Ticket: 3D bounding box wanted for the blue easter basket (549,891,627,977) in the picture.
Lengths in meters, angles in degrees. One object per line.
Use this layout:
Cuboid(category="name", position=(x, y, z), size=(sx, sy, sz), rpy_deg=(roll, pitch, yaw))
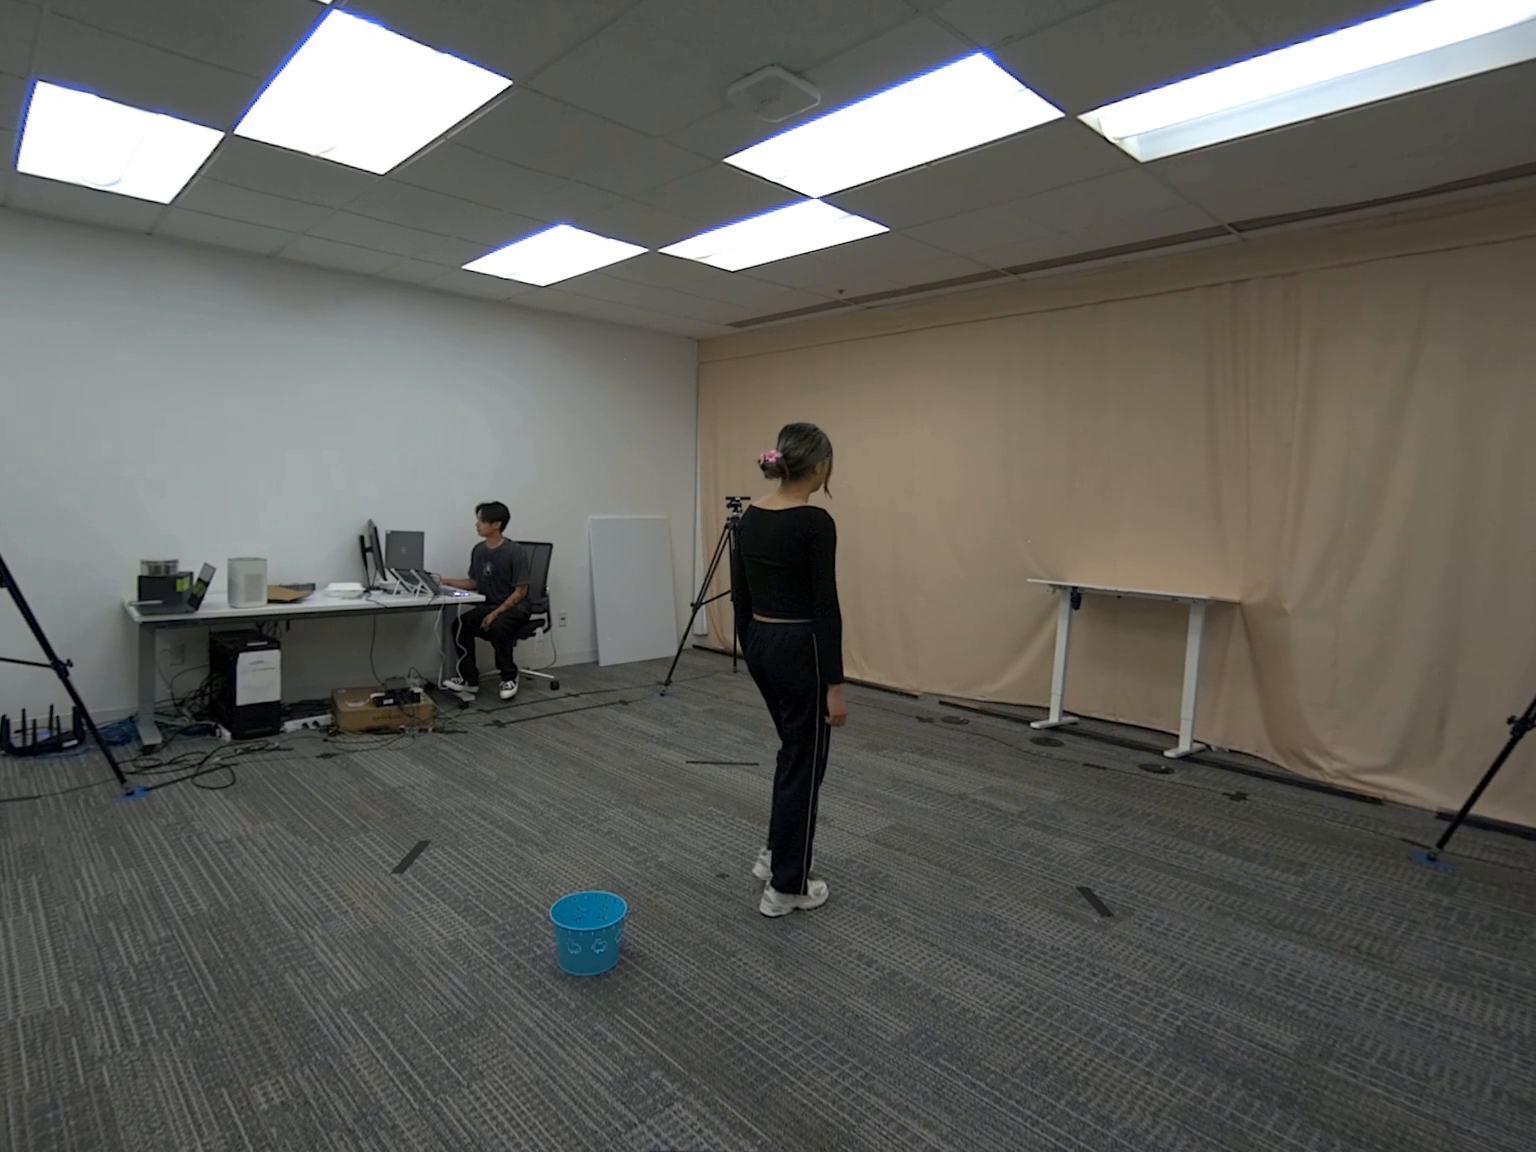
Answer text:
Cuboid(category="blue easter basket", position=(-0.547, 1.071, 2.525), size=(0.243, 0.155, 0.244), rpy_deg=(0, 5, -1))
